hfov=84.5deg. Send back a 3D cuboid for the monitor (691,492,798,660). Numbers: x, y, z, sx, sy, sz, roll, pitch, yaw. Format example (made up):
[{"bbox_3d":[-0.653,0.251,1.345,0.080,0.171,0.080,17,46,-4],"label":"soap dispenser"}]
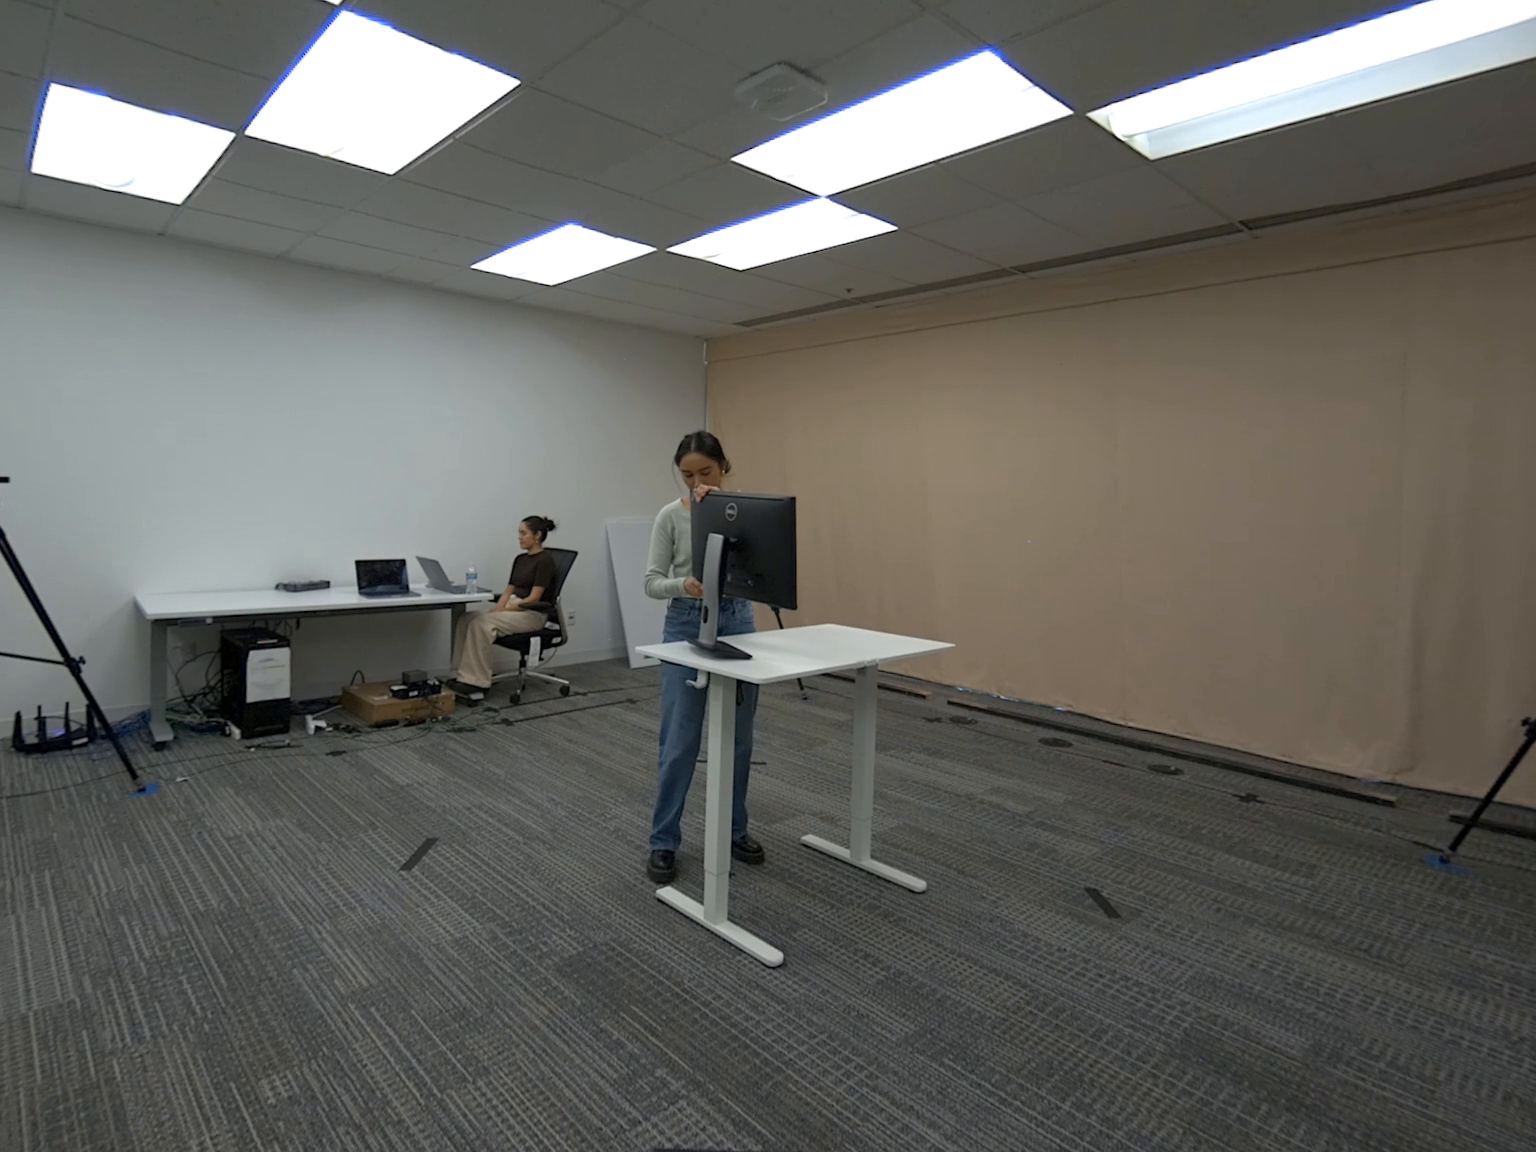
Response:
[{"bbox_3d":[-0.147,-0.012,2.740,0.182,0.523,0.553,11,-1,-41],"label":"monitor"}]
